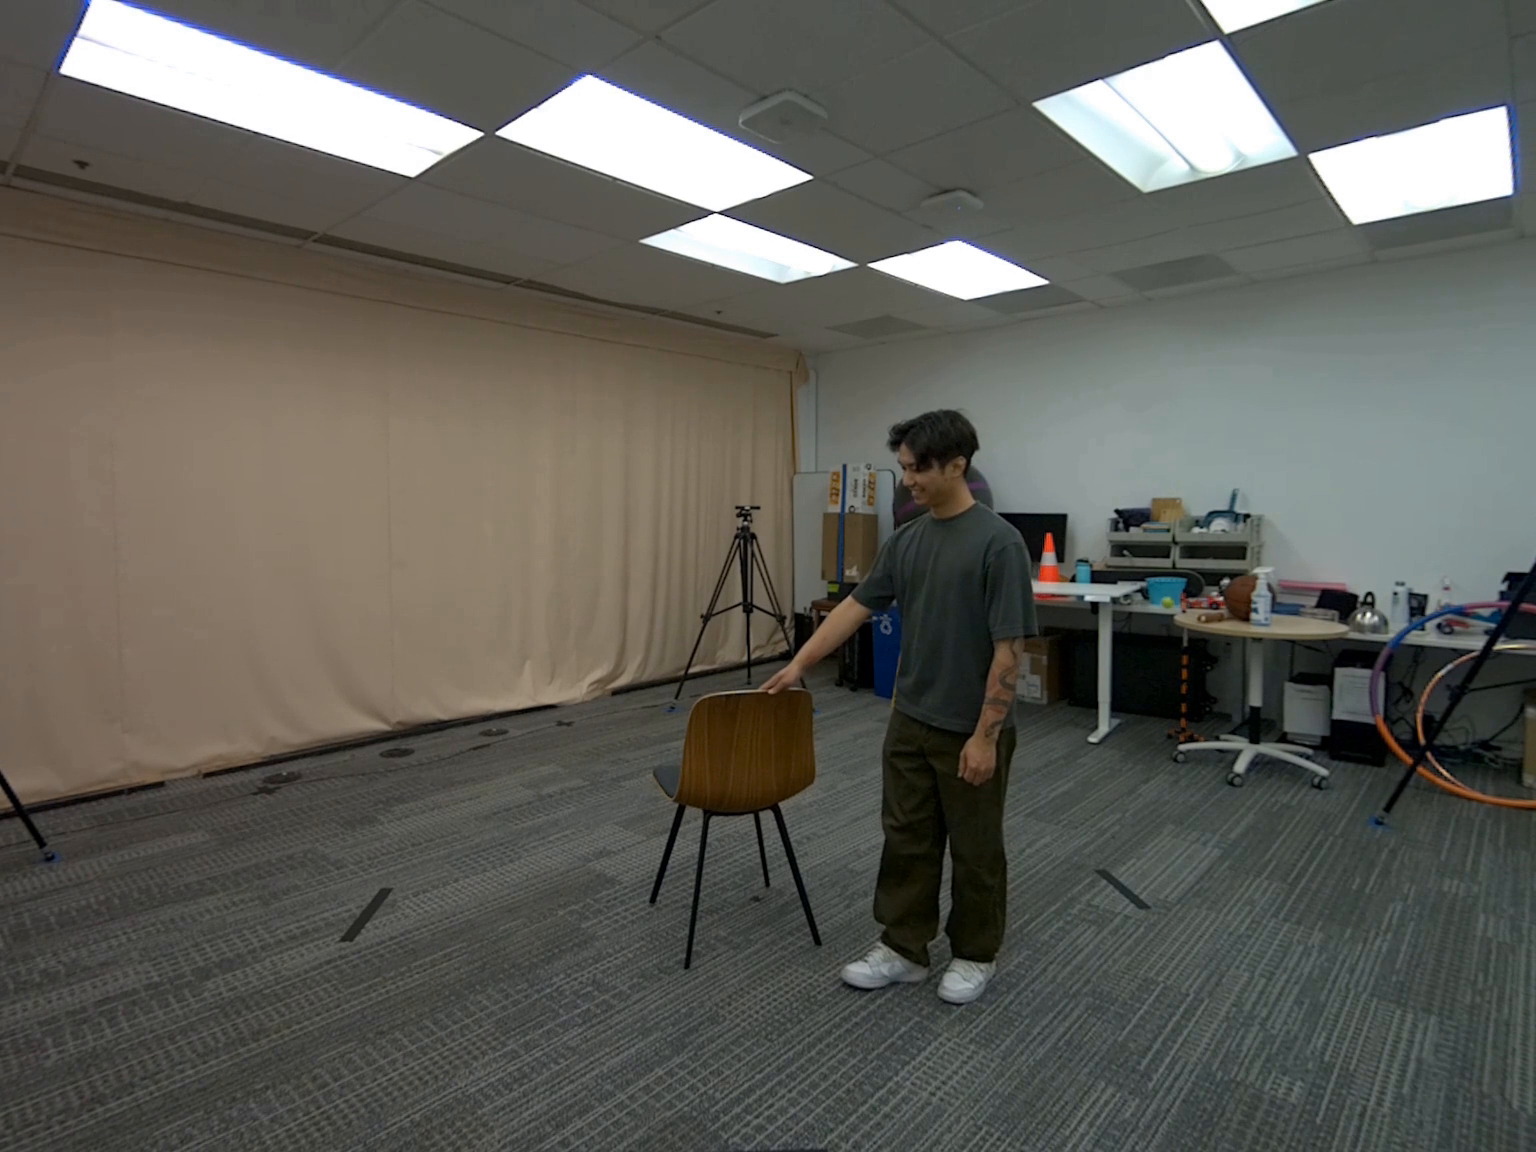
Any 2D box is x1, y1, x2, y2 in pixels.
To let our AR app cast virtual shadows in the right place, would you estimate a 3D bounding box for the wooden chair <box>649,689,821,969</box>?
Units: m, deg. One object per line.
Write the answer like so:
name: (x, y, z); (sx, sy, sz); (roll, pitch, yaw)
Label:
wooden chair: (-0.124, 0.734, 2.789); (0.469, 0.873, 0.536); (-2, 8, -20)
